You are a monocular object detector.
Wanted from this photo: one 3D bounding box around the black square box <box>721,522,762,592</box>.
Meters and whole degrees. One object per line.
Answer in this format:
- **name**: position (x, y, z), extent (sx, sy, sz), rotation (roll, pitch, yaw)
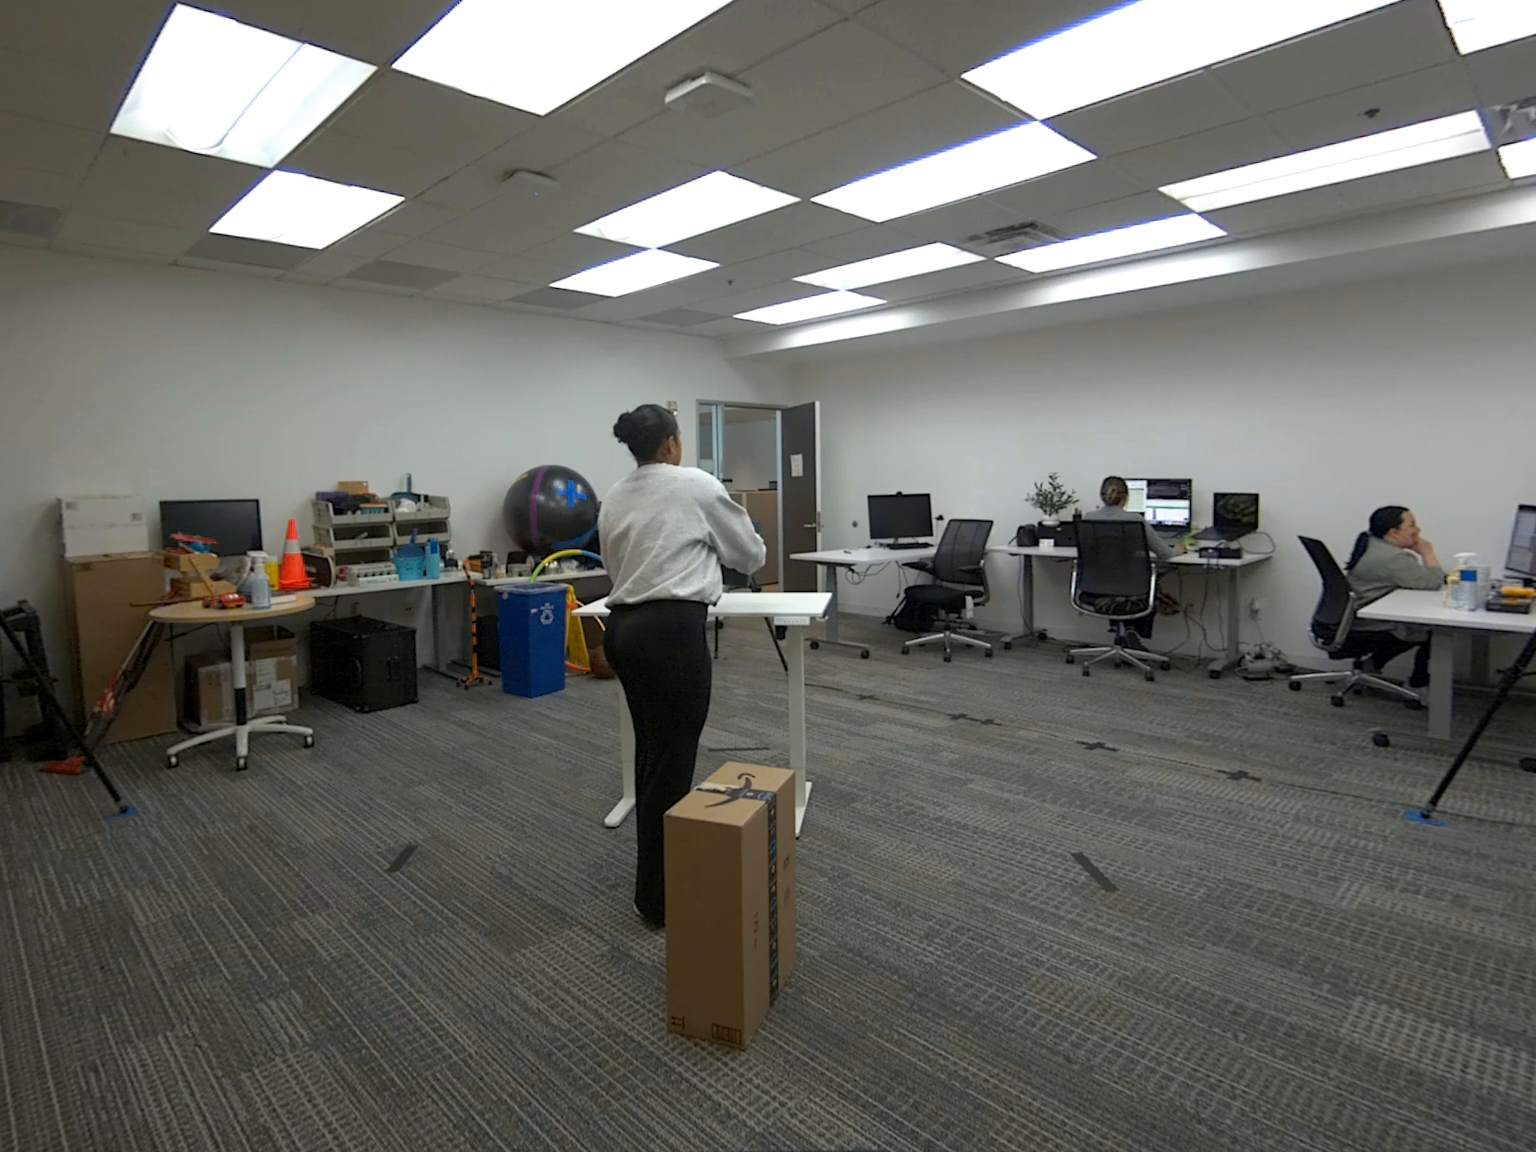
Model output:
- **black square box**: position (-0.152, -0.088, 3.319), extent (0.231, 0.151, 0.220), rotation (8, 49, 13)
